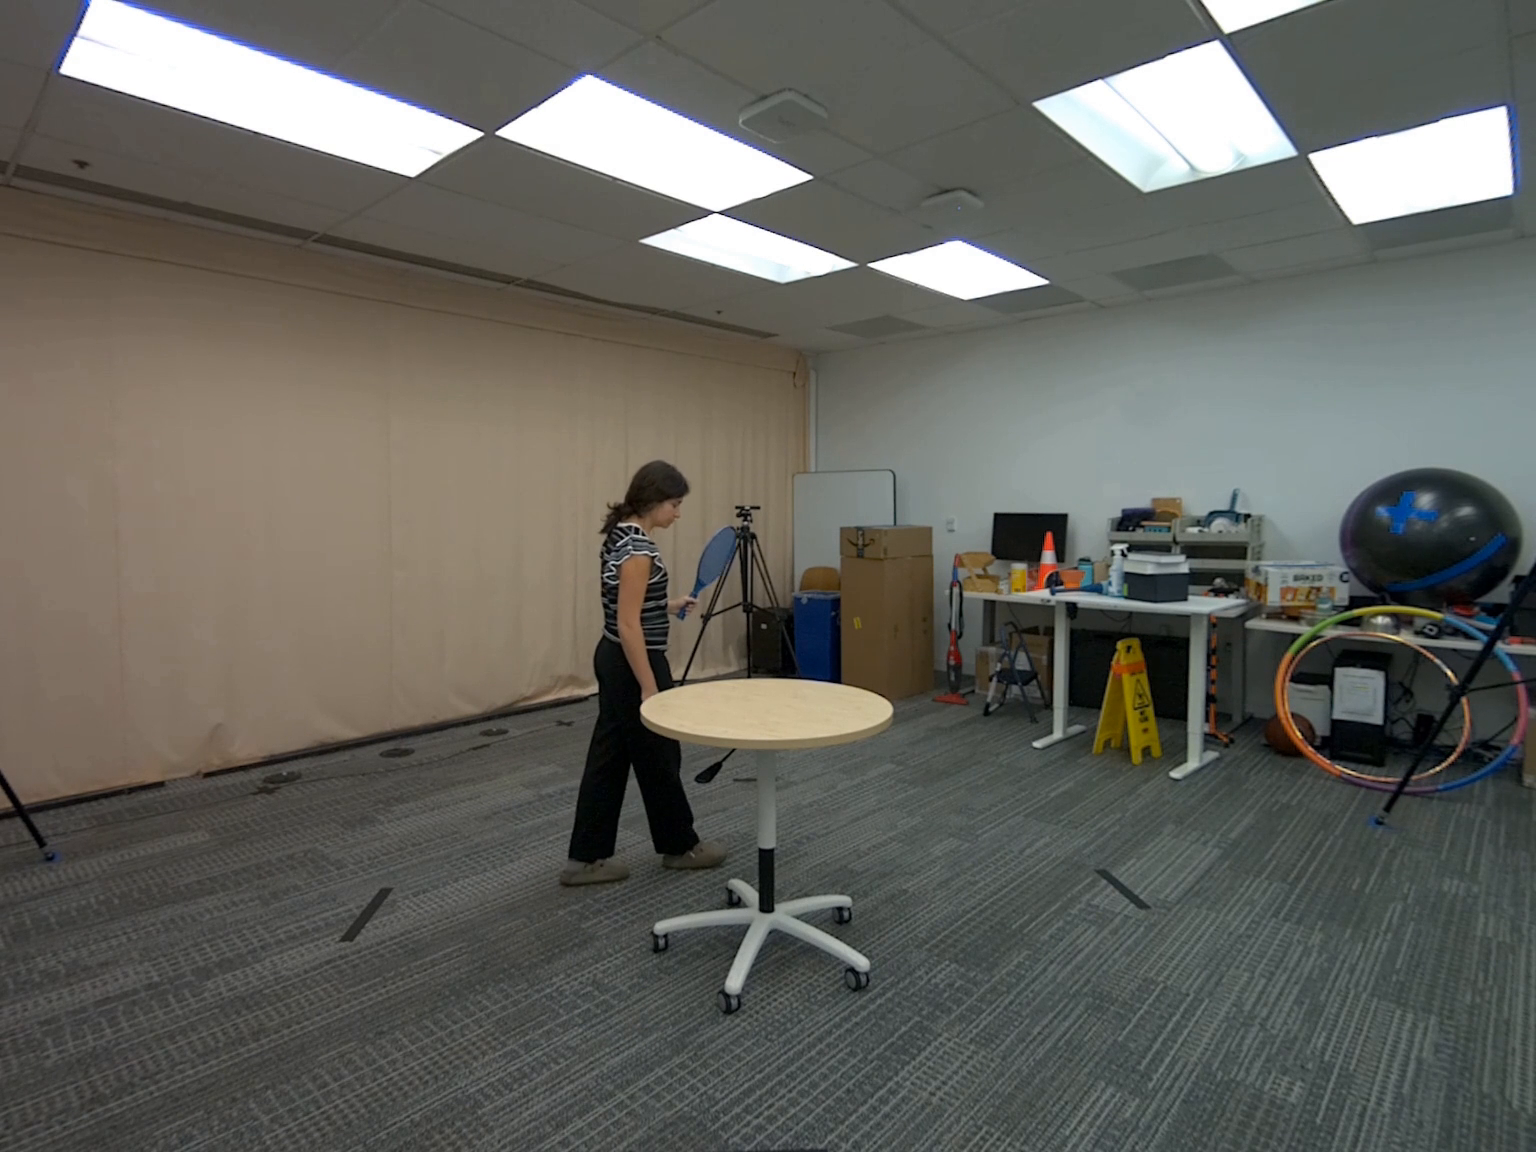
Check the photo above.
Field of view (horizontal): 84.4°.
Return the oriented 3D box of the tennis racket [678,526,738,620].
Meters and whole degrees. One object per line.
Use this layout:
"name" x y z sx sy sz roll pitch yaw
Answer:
"tennis racket" -0.240 -0.012 3.378 0.033 0.433 0.207 24 -15 31
